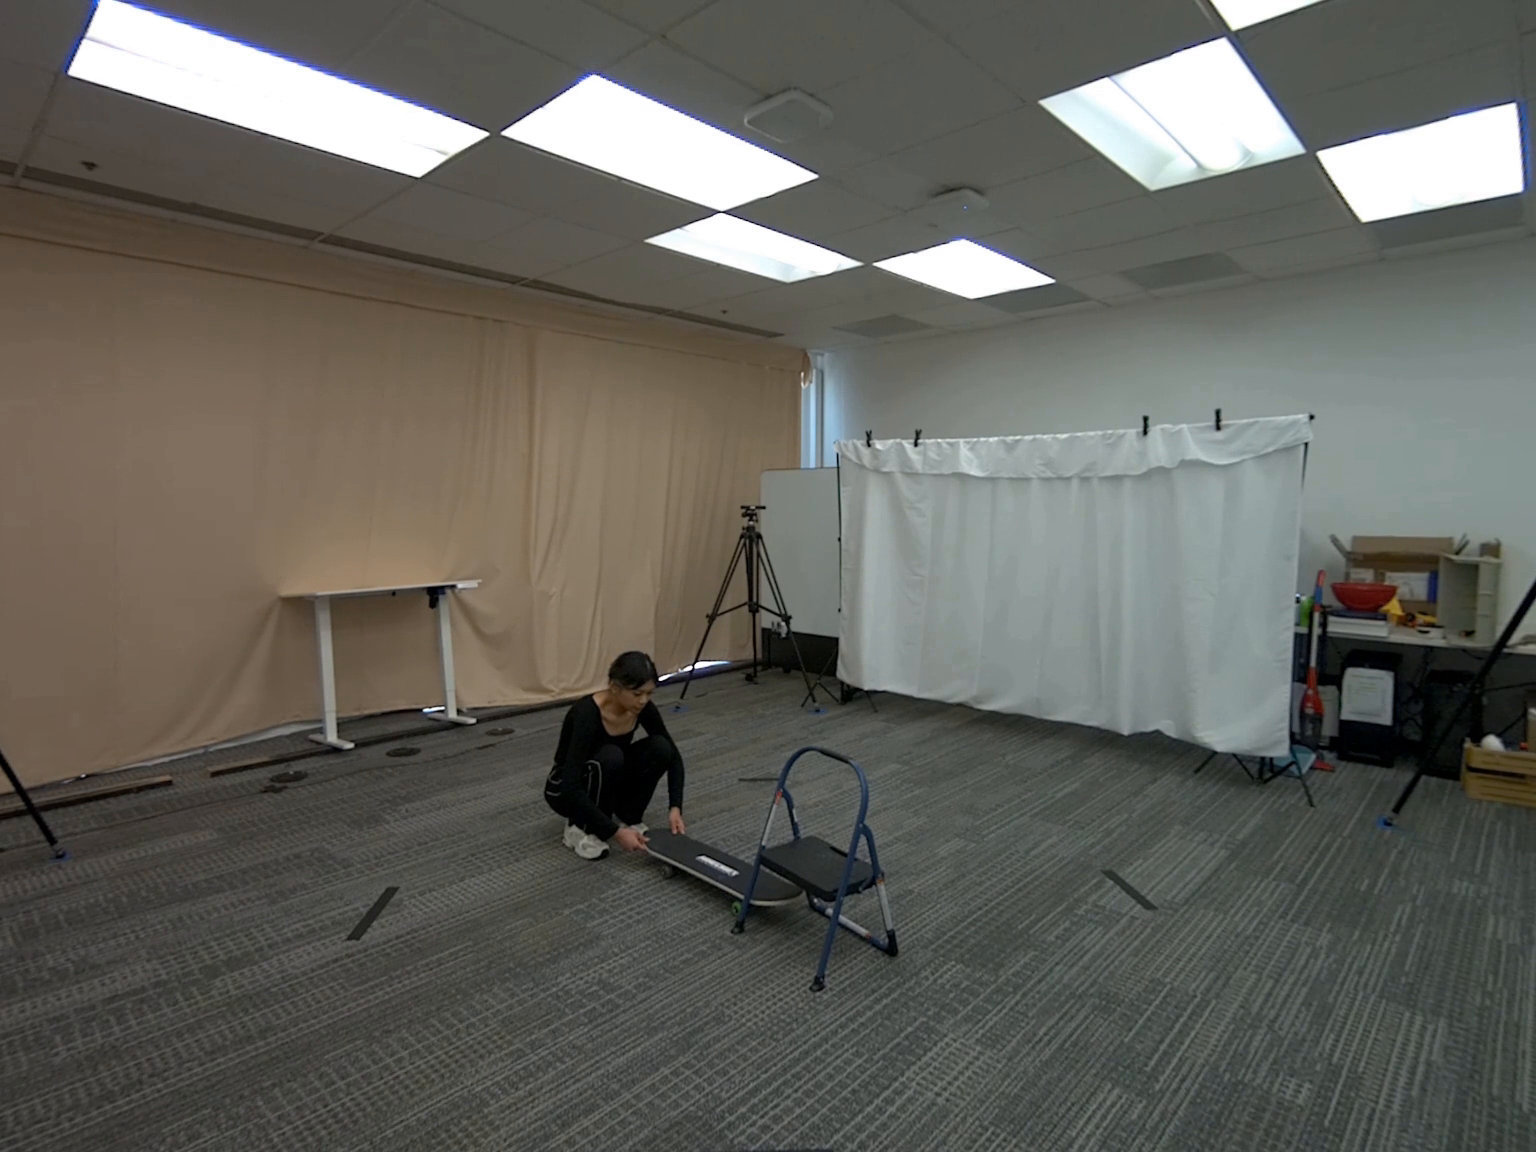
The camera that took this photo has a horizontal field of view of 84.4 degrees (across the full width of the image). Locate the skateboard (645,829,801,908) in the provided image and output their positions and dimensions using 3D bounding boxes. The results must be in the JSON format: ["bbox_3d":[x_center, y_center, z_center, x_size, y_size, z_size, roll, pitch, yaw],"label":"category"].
[{"bbox_3d":[-0.179,1.077,3.057,0.187,0.110,0.812,-3,5,-43],"label":"skateboard"}]
